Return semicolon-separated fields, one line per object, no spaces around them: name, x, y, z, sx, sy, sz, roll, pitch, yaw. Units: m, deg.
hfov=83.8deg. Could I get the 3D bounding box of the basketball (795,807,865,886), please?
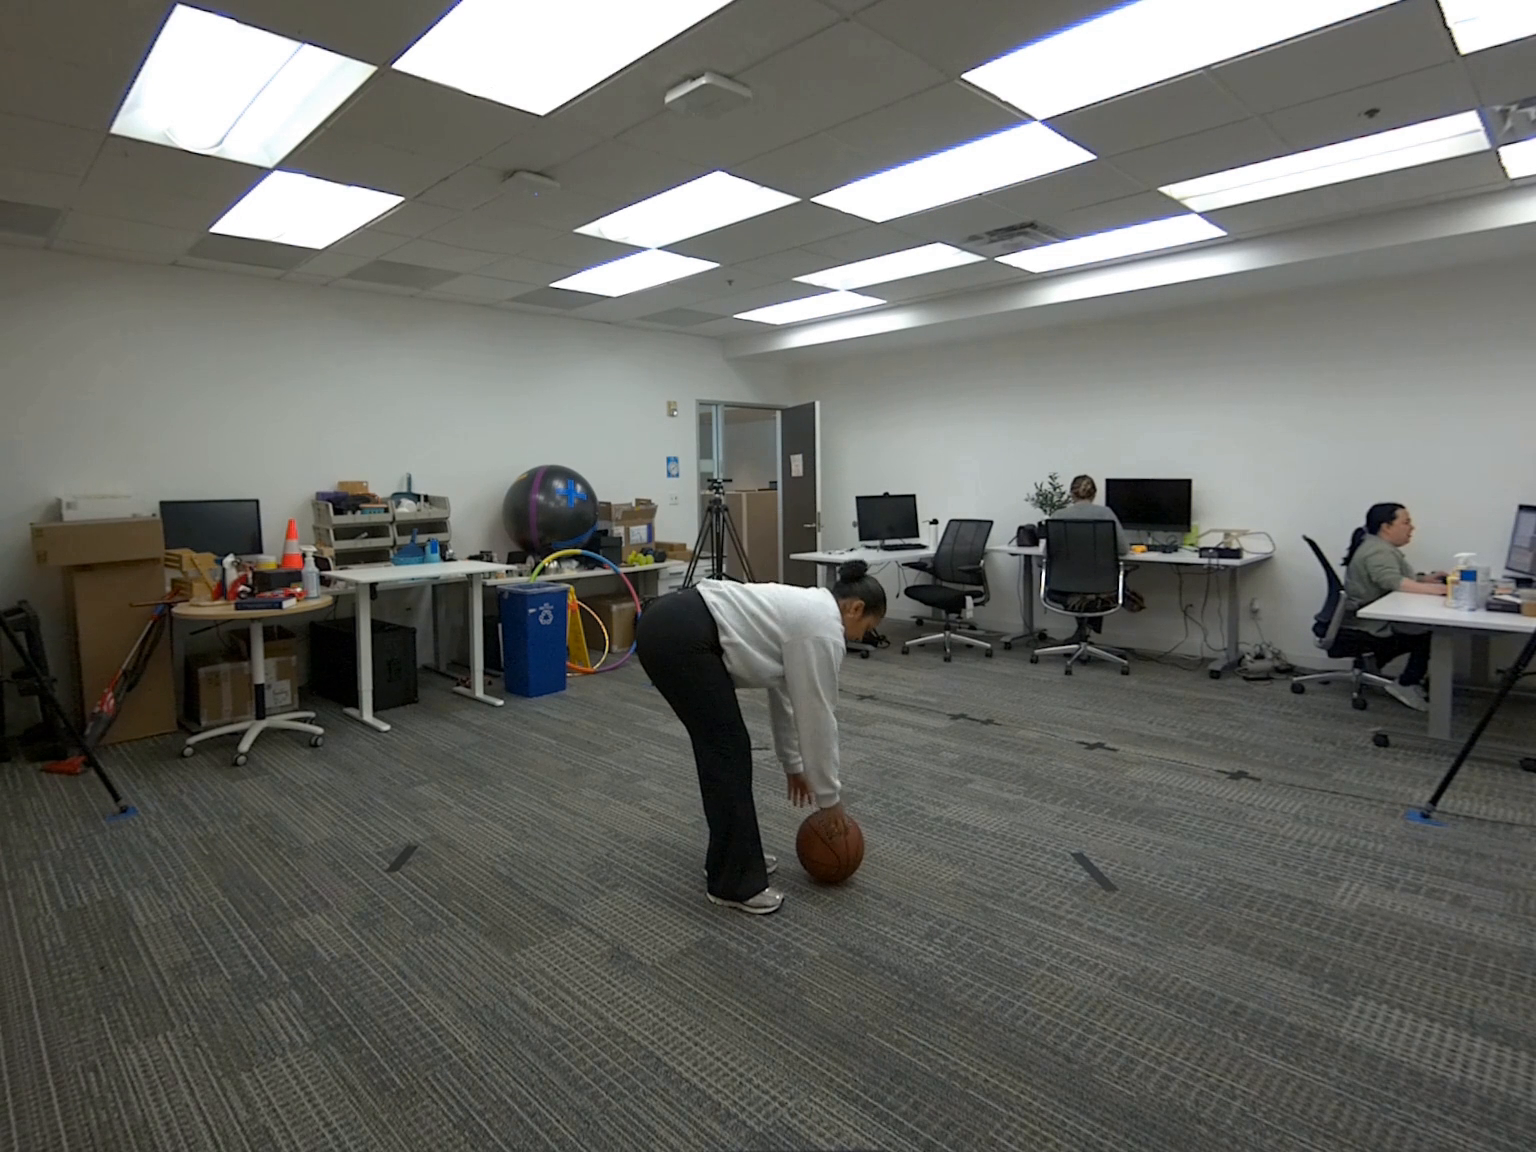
basketball;0.217;0.932;2.967;0.236;0.235;0.237;-1;5;-2
